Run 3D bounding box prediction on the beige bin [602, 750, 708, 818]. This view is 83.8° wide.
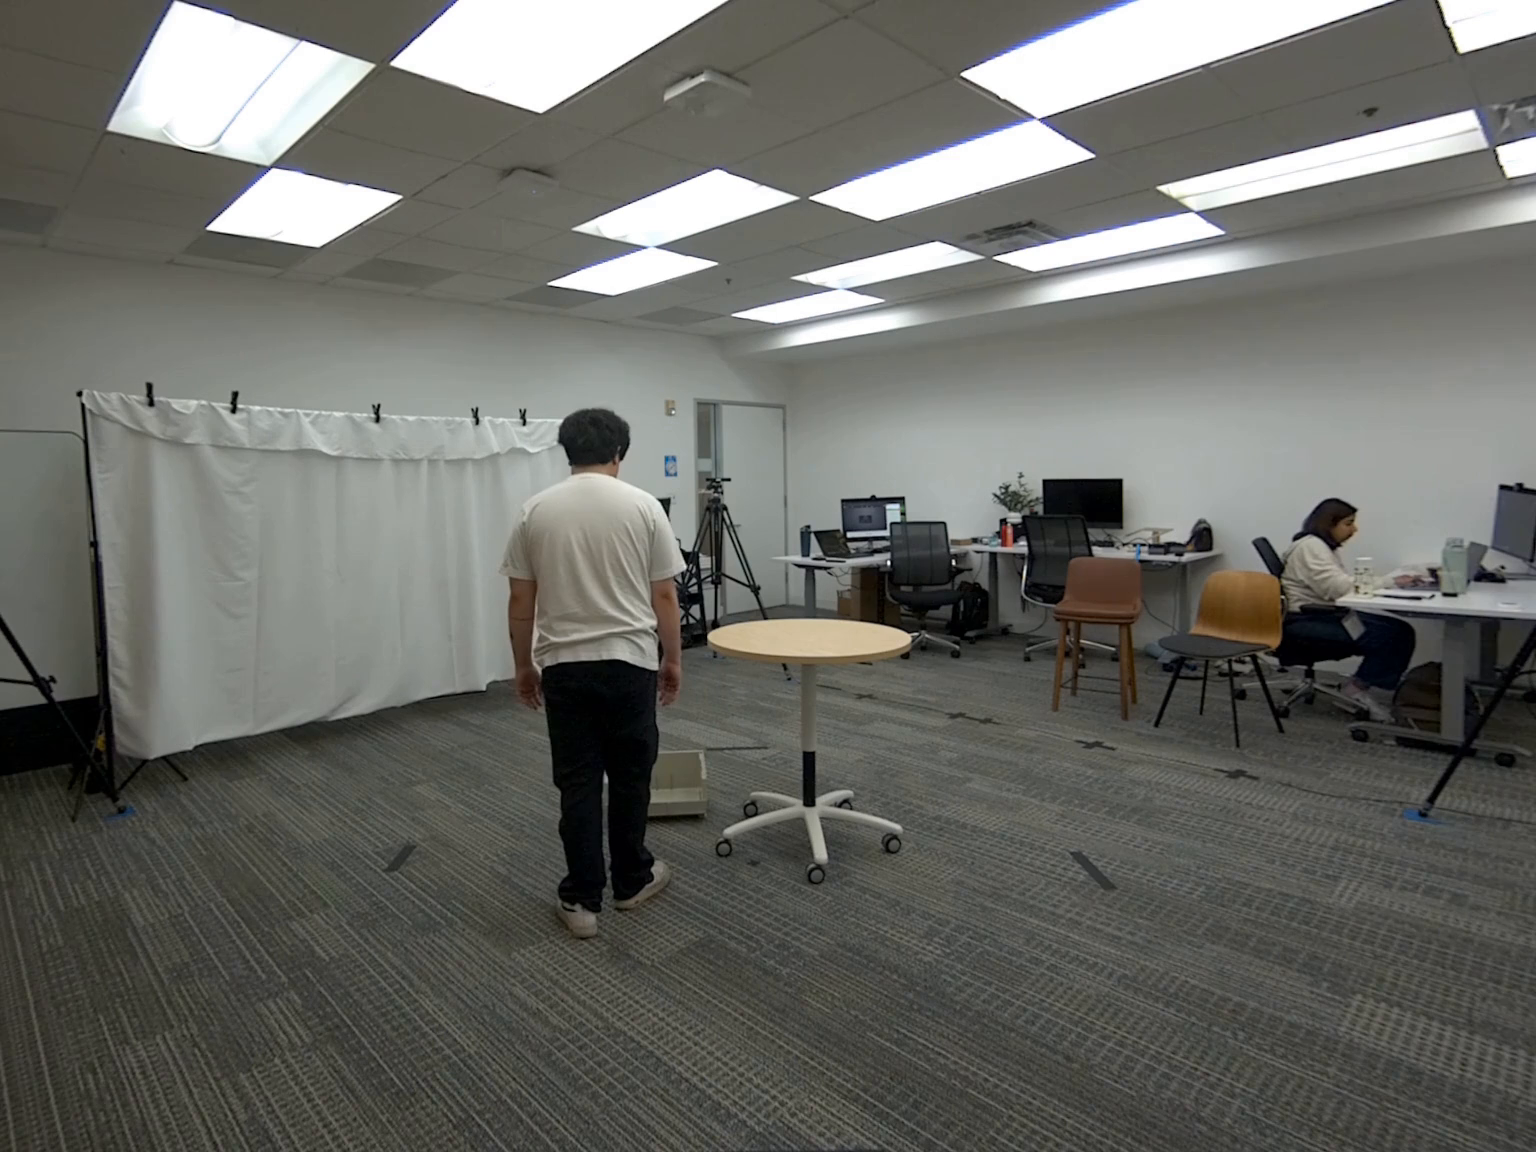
[{"bbox_3d":[-0.474,0.904,3.658,0.420,0.188,0.381,-3,5,-6],"label":"beige bin"}]
